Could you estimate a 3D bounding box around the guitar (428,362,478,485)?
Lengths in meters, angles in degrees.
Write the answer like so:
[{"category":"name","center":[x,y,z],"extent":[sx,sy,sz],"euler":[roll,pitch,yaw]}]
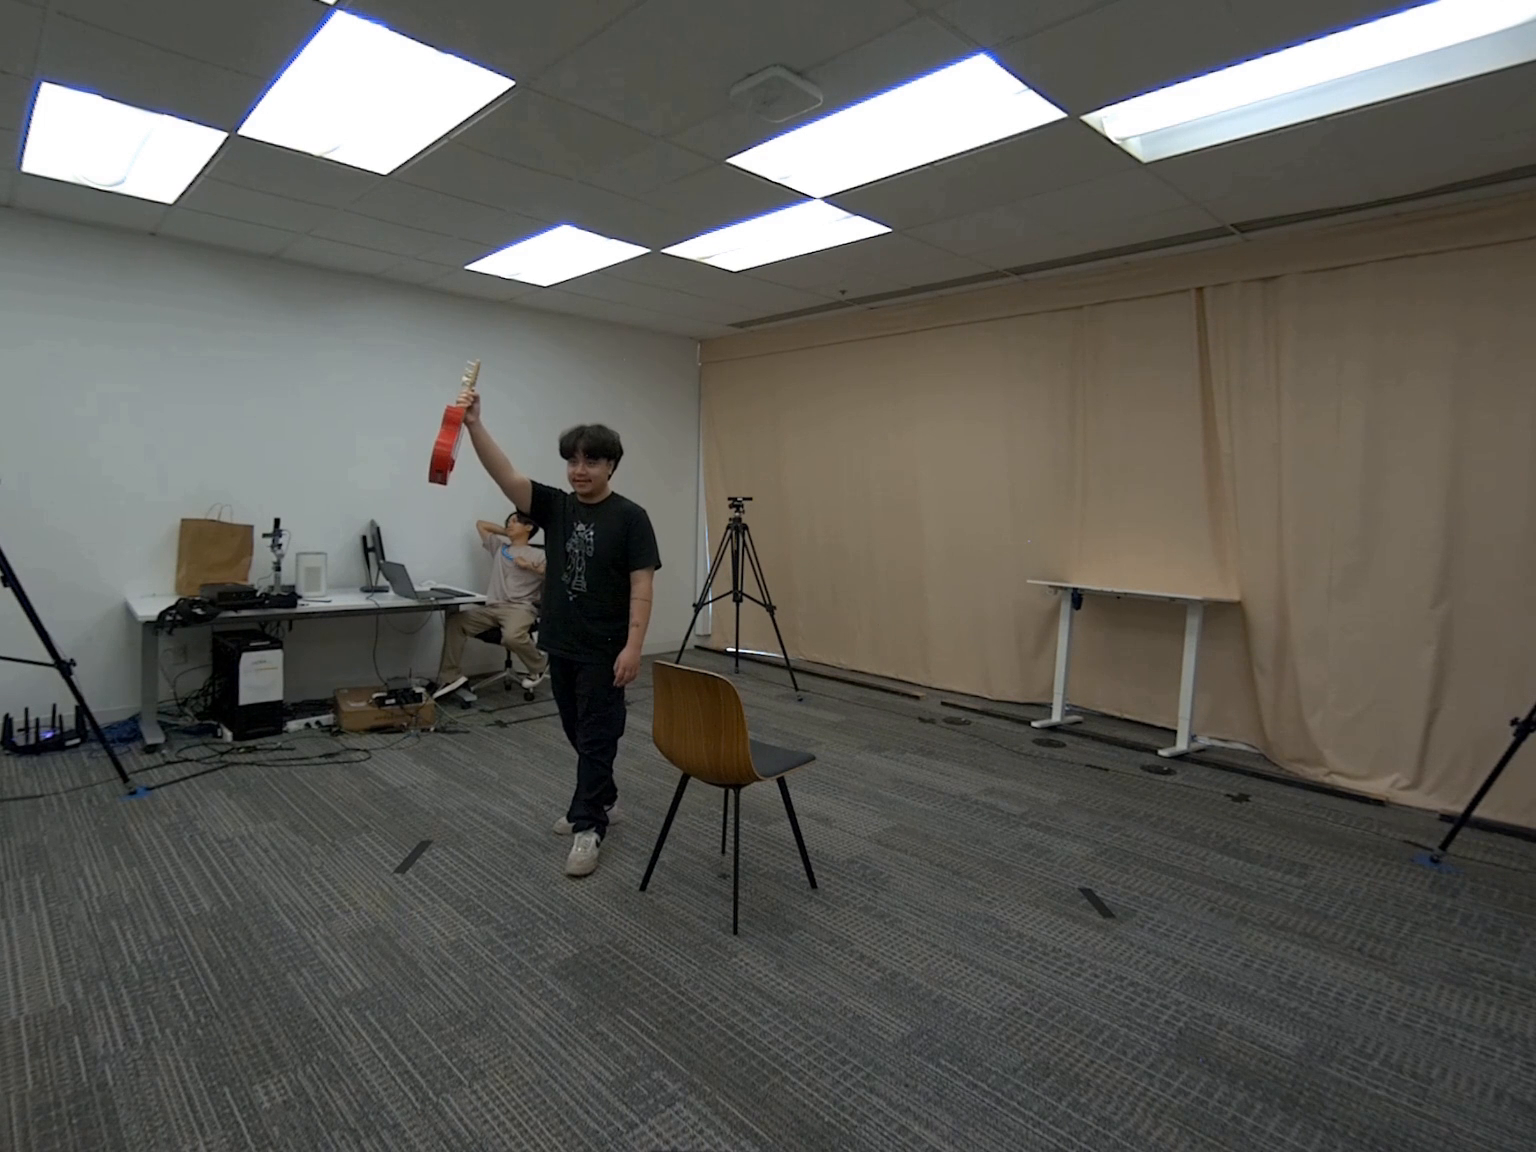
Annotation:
[{"category":"guitar","center":[-1.093,-0.536,2.933],"extent":[0.070,0.508,0.192],"euler":[12,-36,-16]}]
